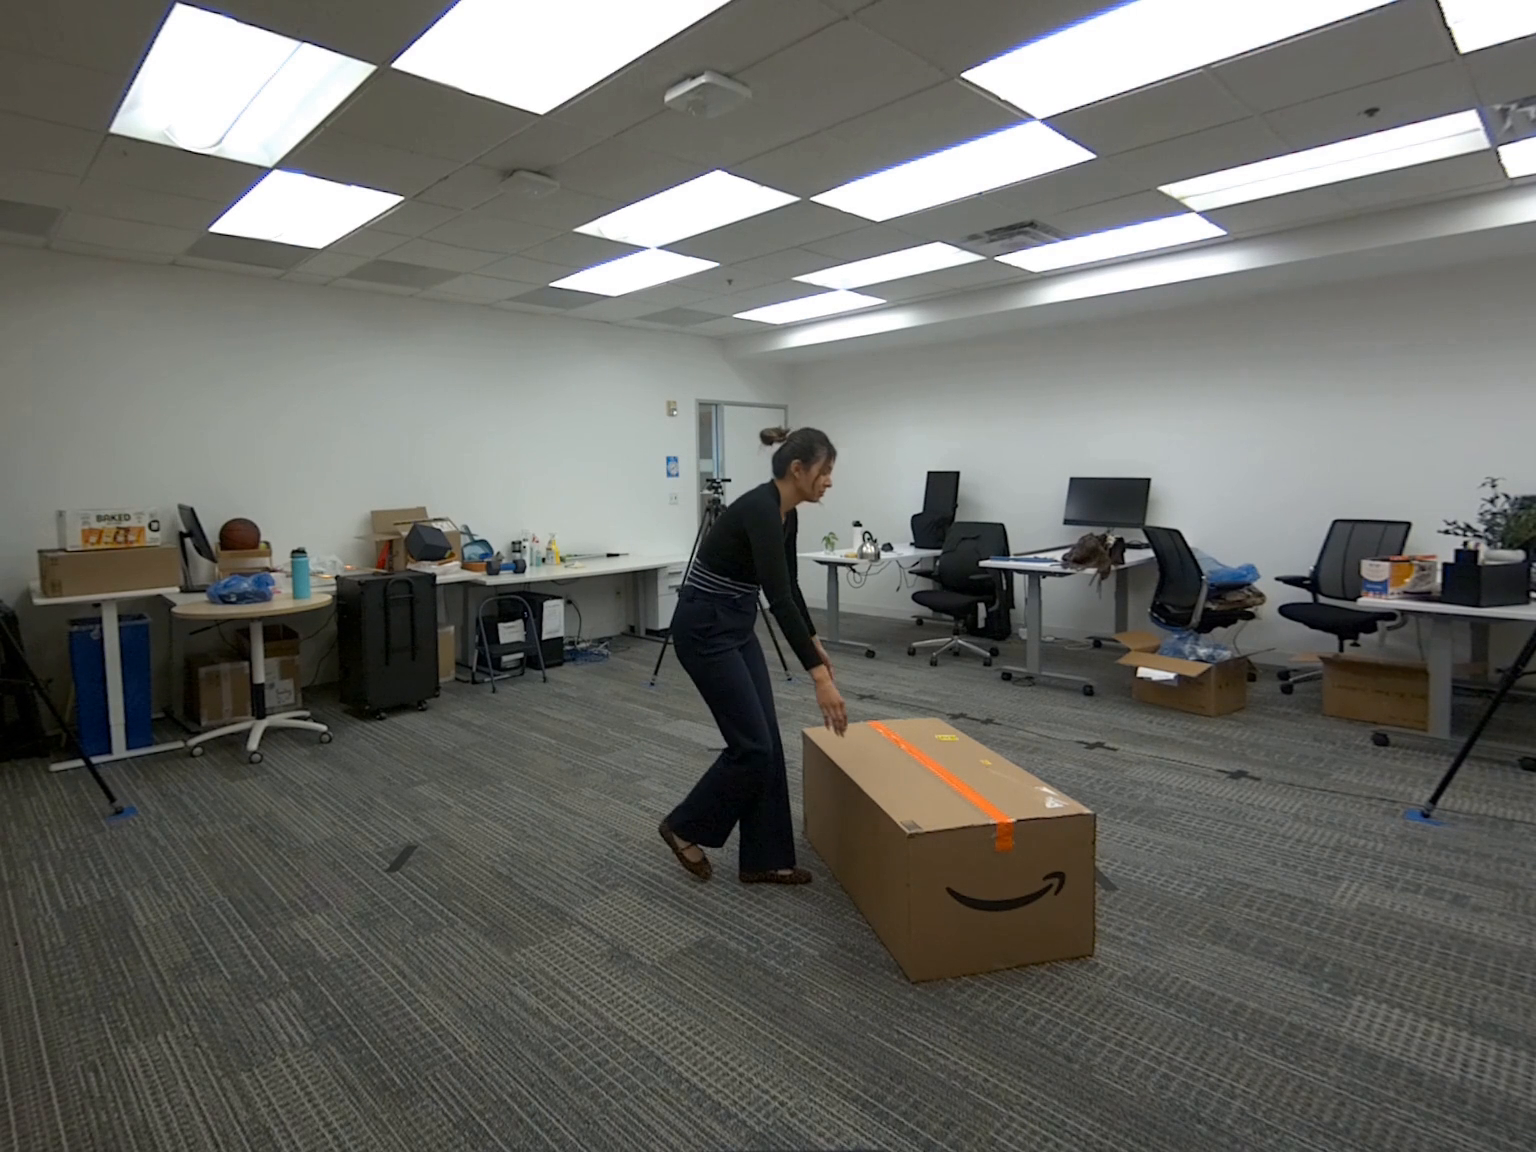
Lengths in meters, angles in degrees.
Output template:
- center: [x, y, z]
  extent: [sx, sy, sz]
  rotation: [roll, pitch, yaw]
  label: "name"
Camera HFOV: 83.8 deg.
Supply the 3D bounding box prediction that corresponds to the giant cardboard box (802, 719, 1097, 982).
- center: [0.539, 0.841, 2.896]
  extent: [0.570, 0.424, 1.043]
  rotation: [-2, 6, -14]
  label: "giant cardboard box"
